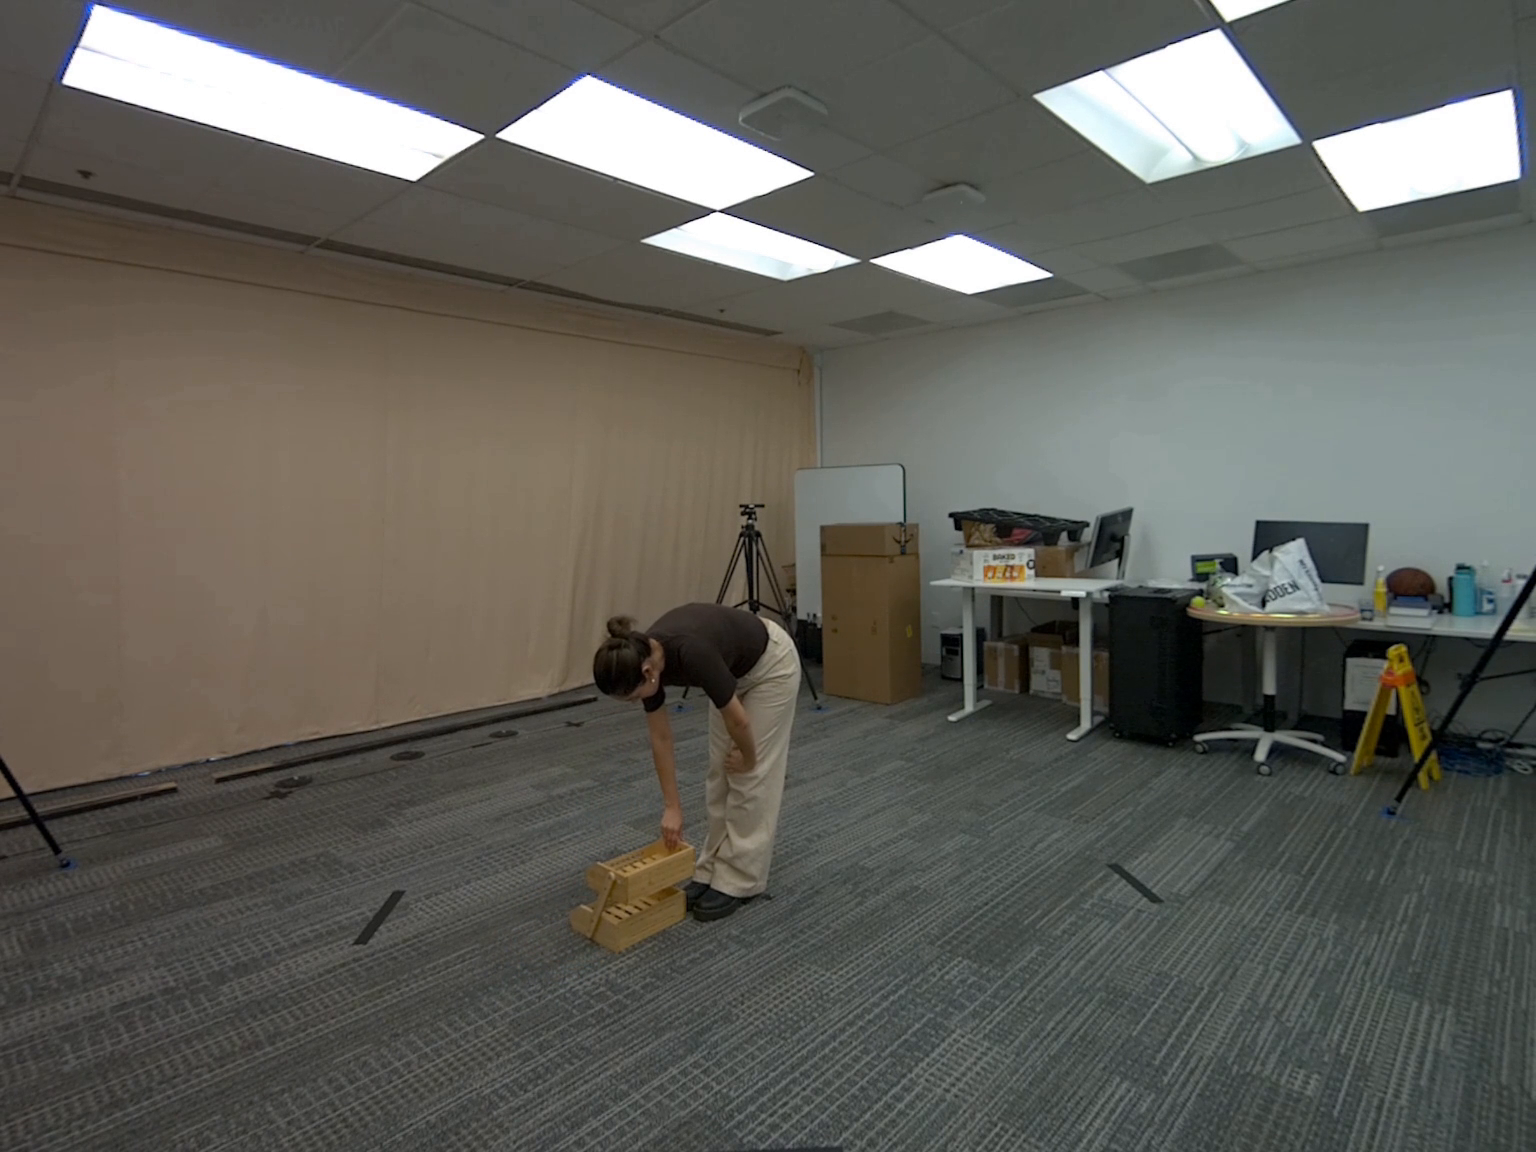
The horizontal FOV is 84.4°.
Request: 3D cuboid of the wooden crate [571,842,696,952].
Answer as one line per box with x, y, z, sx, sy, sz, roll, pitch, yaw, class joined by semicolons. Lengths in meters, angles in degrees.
-0.452;1.029;2.798;0.312;0.272;0.314;4;6;43;wooden crate
